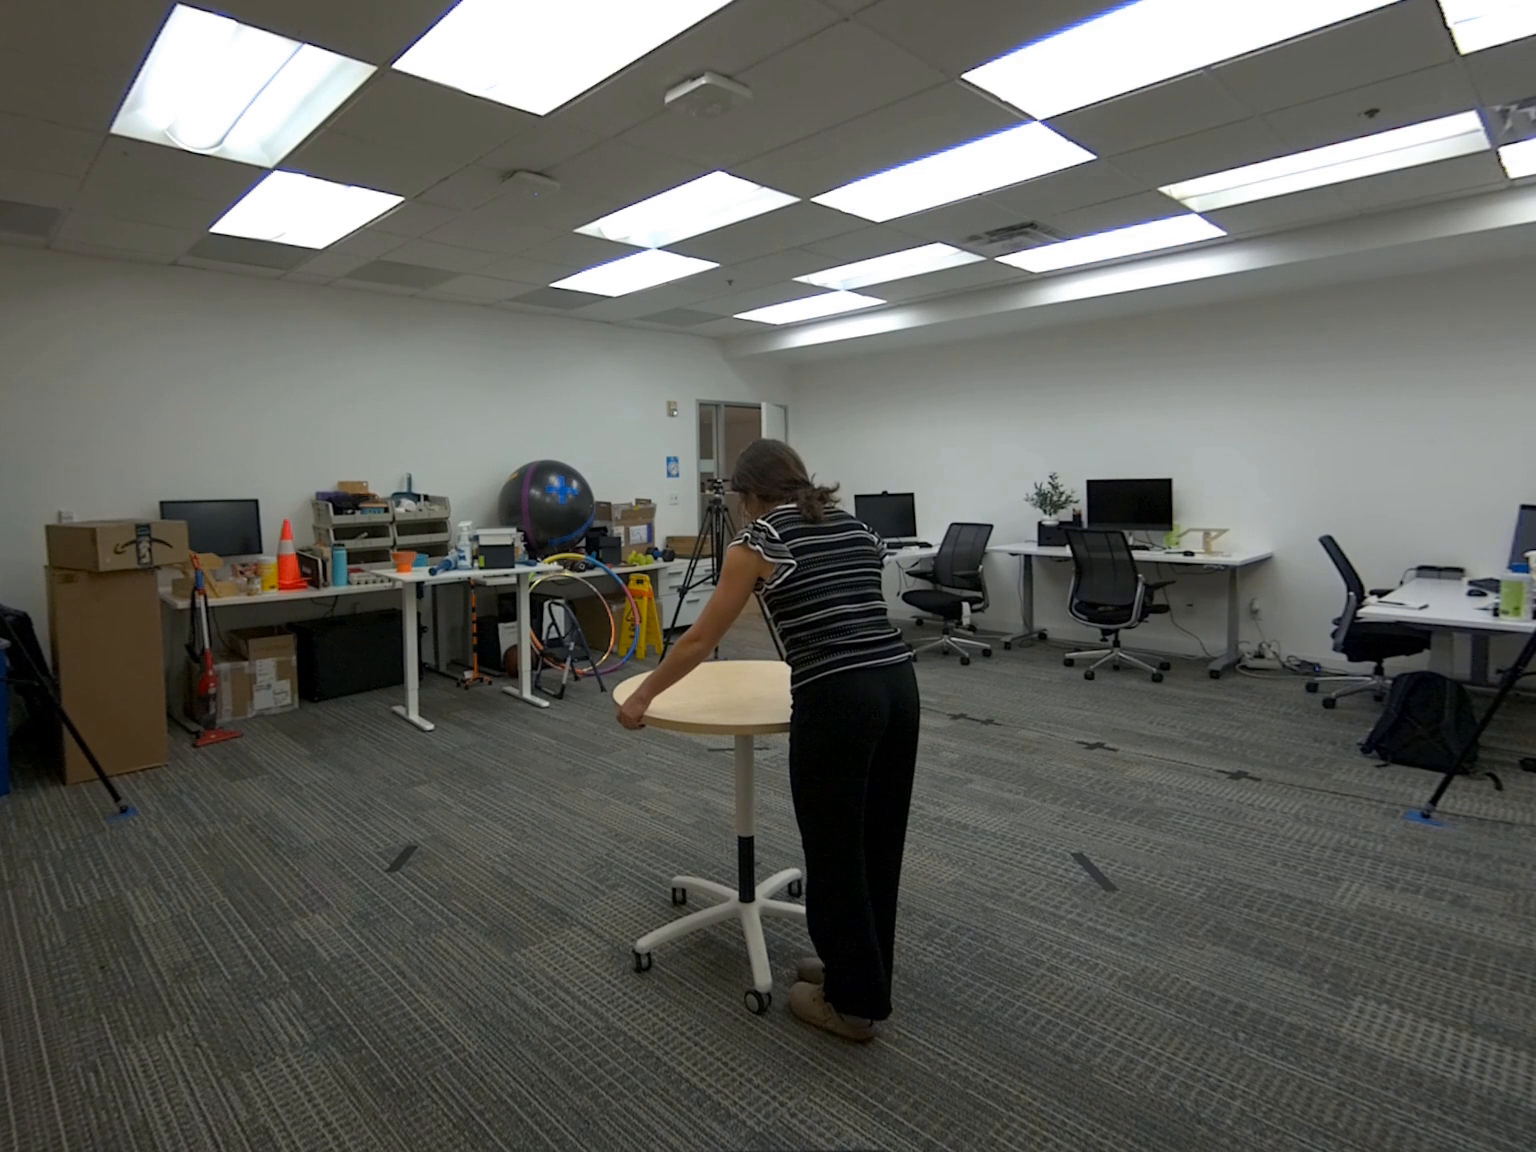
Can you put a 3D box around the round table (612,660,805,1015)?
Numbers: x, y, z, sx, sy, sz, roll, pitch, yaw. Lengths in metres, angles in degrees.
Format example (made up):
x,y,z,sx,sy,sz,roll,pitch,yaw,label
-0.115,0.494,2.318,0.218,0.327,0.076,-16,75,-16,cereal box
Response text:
x,y,z,sx,sy,sz,roll,pitch,yaw,label
-0.063,0.723,2.549,0.763,0.791,0.768,-2,5,-2,round table
